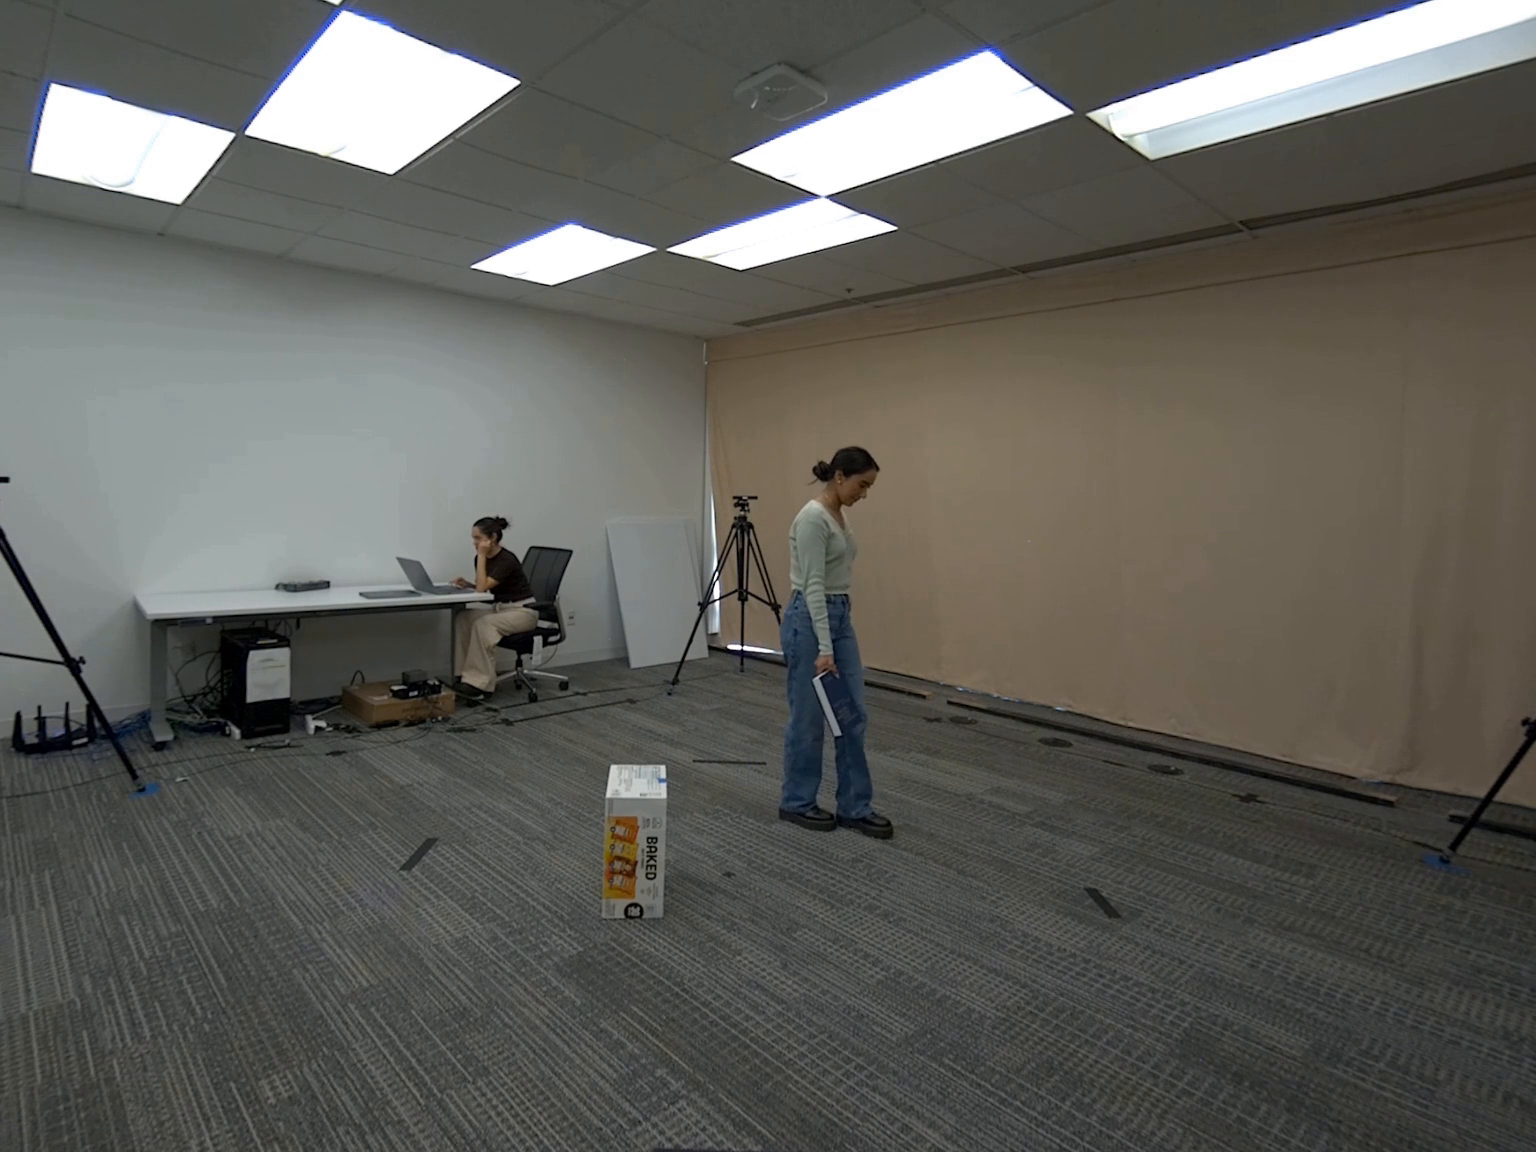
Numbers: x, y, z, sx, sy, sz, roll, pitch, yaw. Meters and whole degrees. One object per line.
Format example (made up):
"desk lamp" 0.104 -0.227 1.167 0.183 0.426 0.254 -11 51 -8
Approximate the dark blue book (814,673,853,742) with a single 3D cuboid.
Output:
"dark blue book" 0.258 0.497 3.315 0.046 0.245 0.161 -22 0 36
